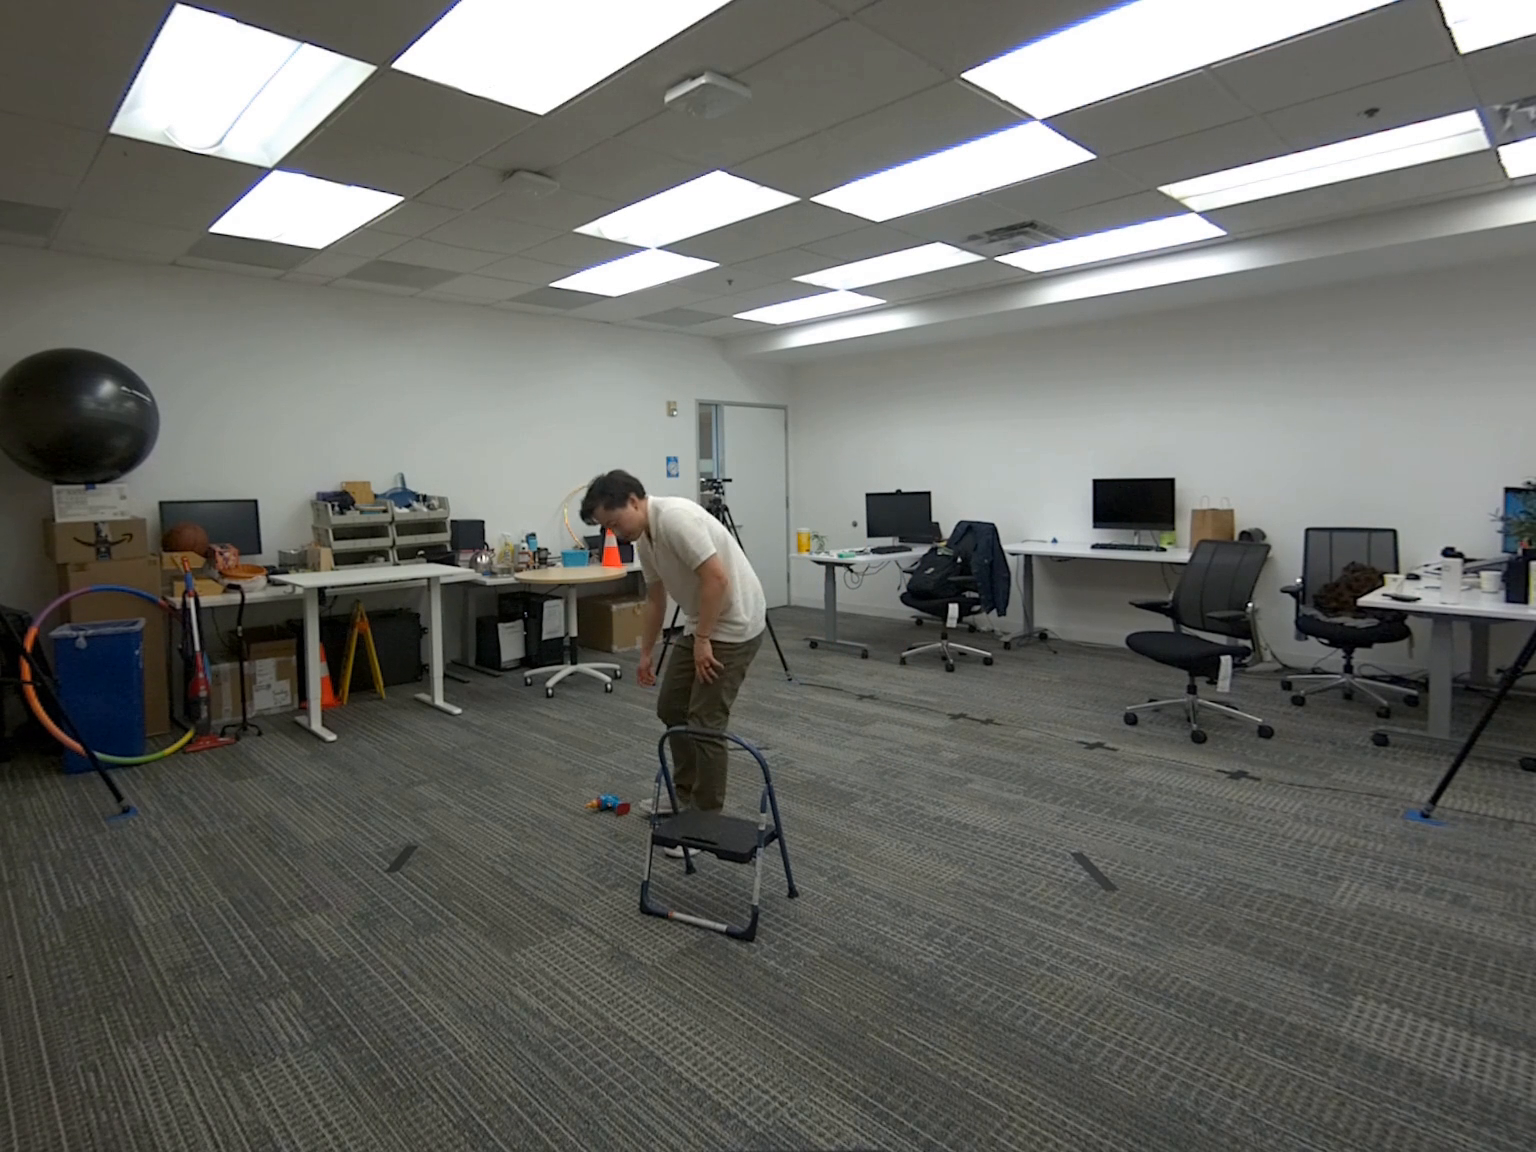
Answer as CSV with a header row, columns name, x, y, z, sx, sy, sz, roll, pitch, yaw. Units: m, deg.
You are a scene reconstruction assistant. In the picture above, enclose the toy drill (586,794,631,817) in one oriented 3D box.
name,x,y,z,sx,sy,sz,roll,pitch,yaw
toy drill,-0.682,0.968,3.622,0.165,0.061,0.150,2,3,-40
